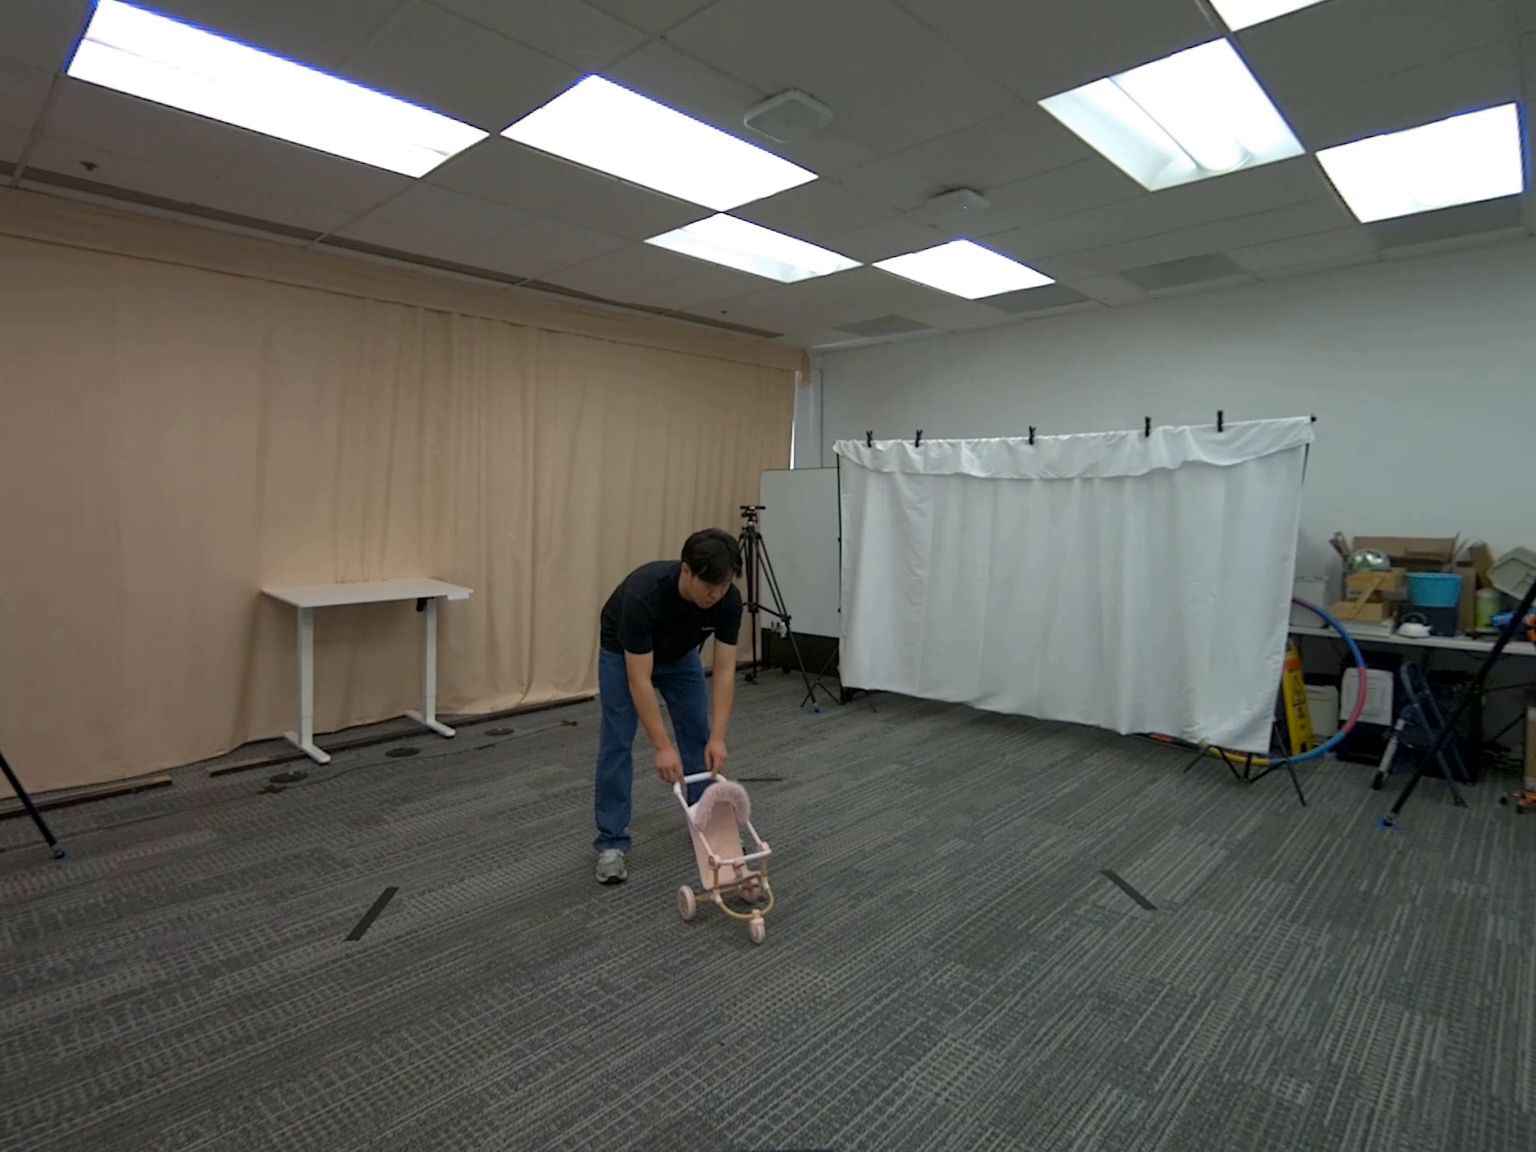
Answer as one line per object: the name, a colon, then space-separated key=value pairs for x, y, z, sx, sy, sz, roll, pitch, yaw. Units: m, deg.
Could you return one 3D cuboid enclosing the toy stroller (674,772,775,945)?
toy stroller: x=-0.134 y=0.933 z=2.839 sx=0.274 sy=0.540 sz=0.347 roll=-1 pitch=-14 yaw=-27
